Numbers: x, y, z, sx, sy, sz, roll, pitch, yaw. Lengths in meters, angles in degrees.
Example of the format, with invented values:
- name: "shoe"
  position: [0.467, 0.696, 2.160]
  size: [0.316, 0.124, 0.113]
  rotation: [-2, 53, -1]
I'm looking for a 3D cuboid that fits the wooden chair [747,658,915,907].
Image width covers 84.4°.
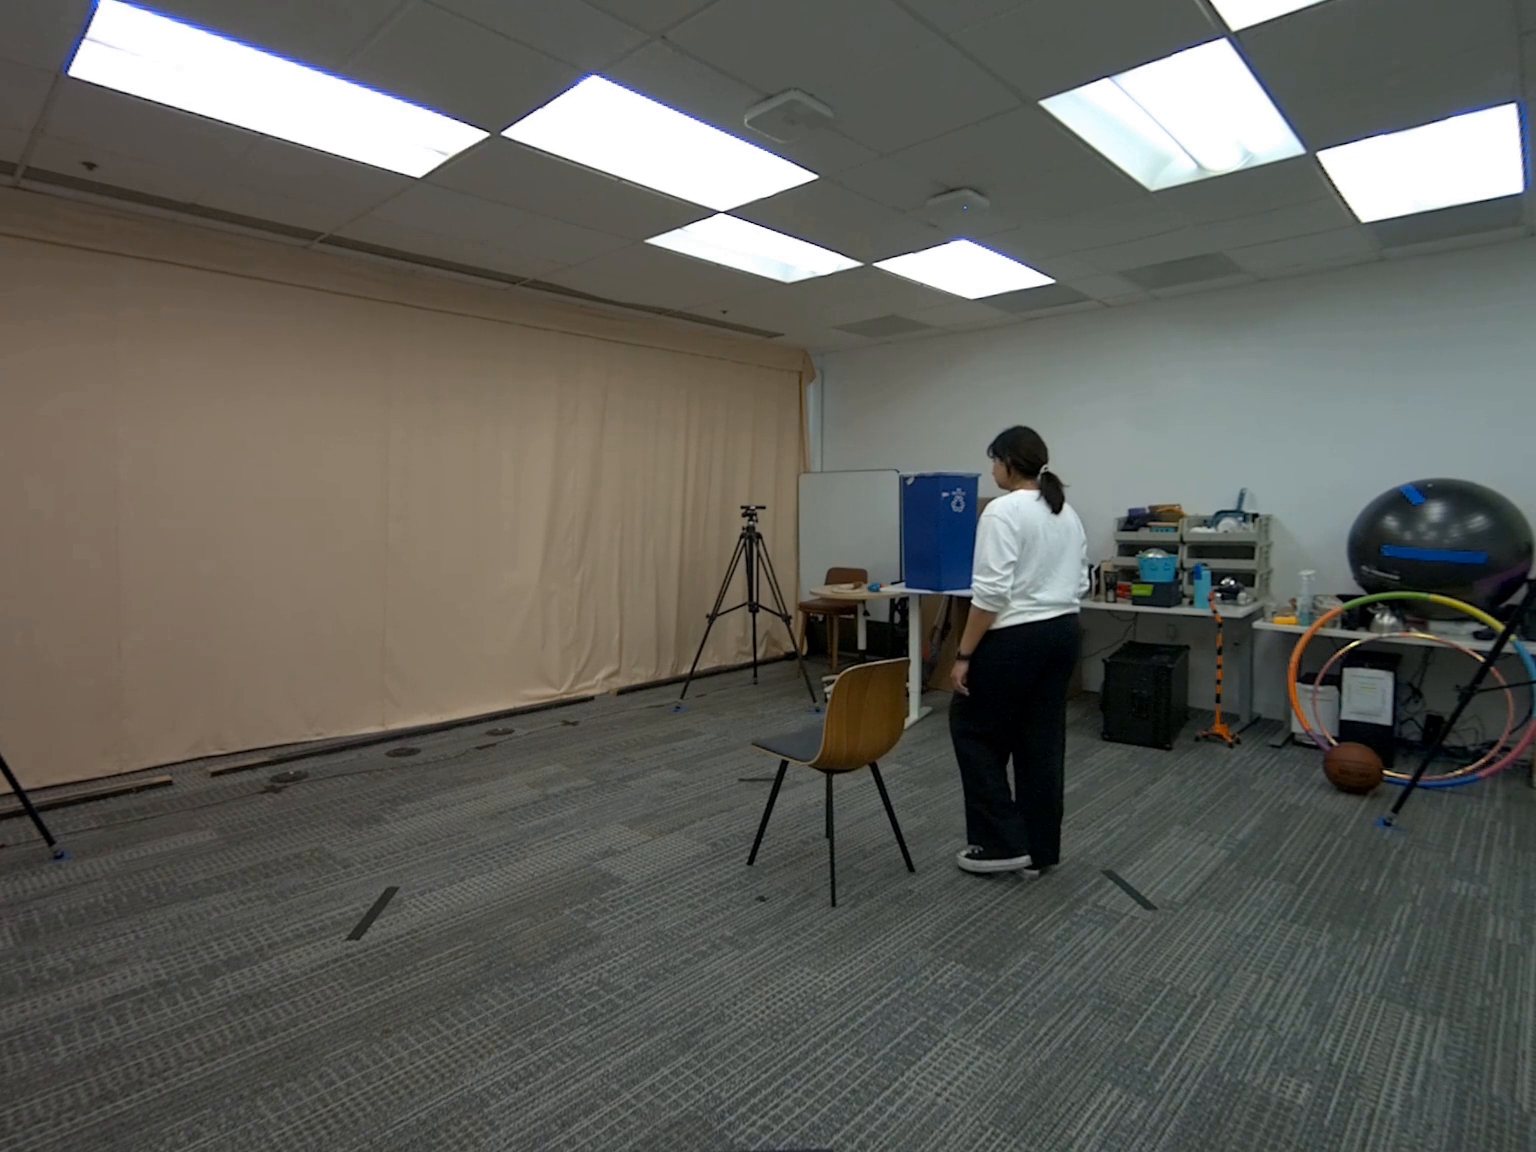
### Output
- name: "wooden chair"
  position: [0.237, 0.698, 3.205]
  size: [0.463, 0.874, 0.541]
  rotation: [-3, 9, -41]
